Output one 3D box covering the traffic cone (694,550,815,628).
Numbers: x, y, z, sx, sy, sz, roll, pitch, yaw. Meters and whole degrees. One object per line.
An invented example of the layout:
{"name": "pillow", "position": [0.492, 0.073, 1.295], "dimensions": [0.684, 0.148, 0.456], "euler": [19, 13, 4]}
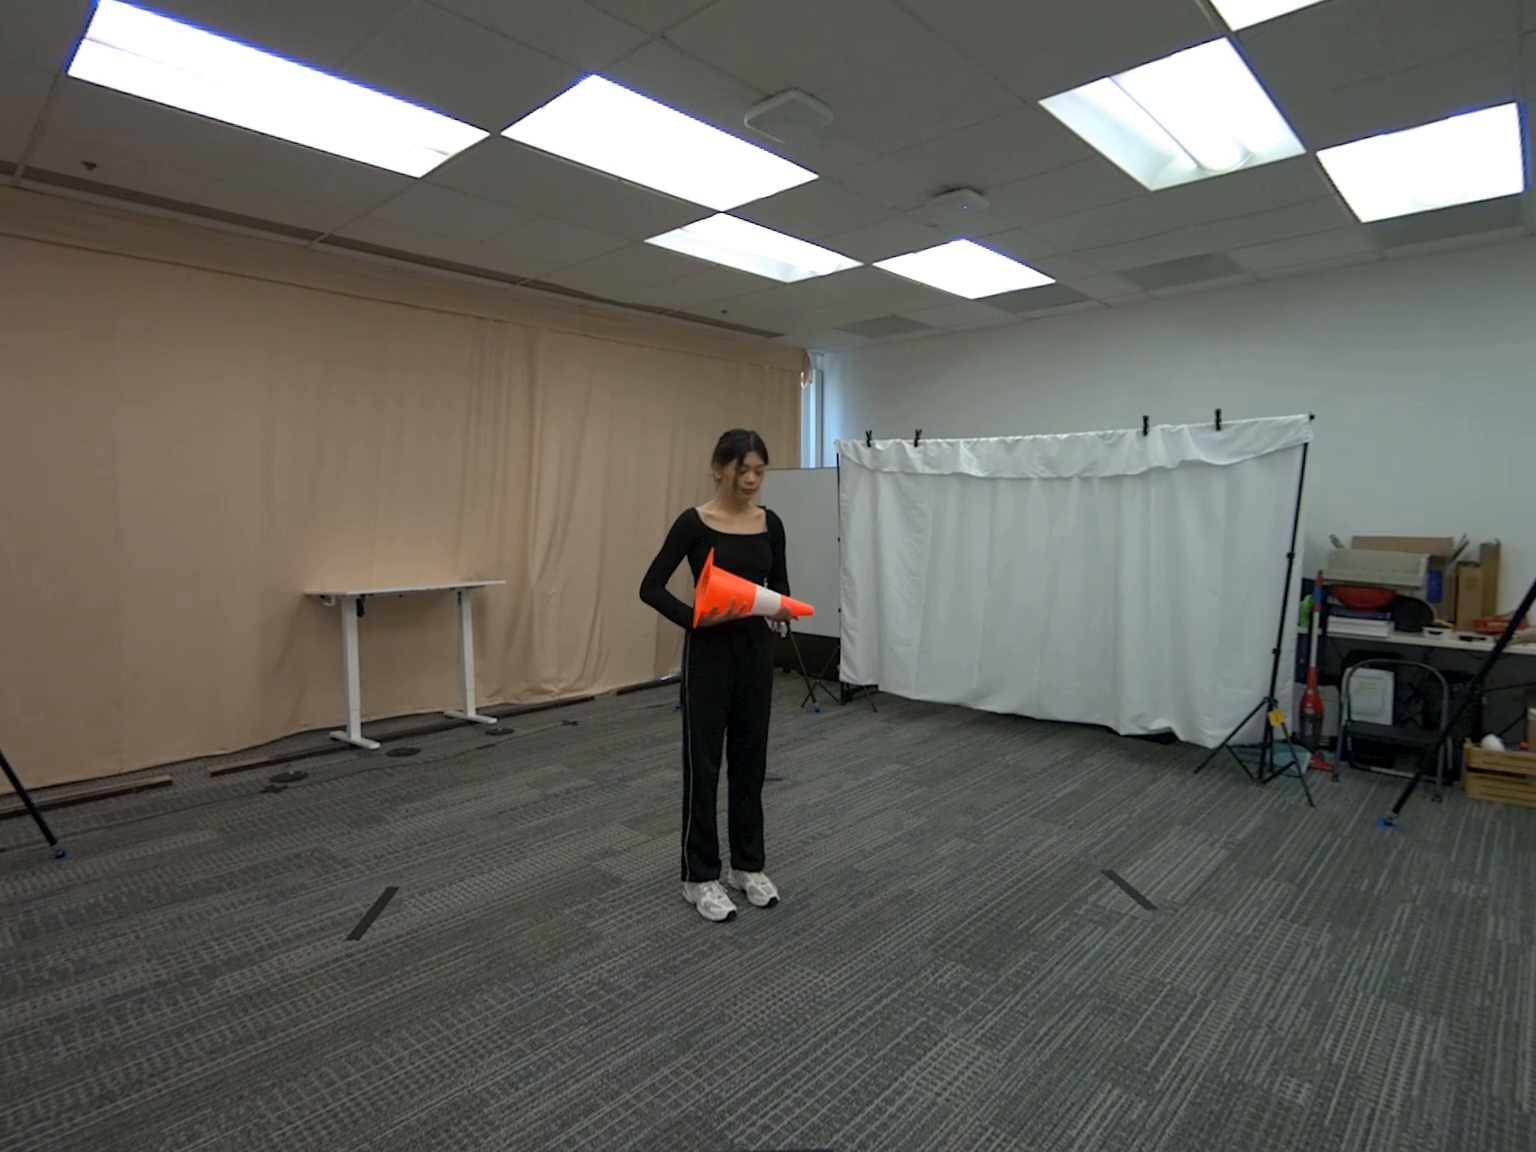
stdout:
{"name": "traffic cone", "position": [-0.019, 0.070, 2.751], "dimensions": [0.382, 0.201, 0.208], "euler": [10, 32, -5]}
